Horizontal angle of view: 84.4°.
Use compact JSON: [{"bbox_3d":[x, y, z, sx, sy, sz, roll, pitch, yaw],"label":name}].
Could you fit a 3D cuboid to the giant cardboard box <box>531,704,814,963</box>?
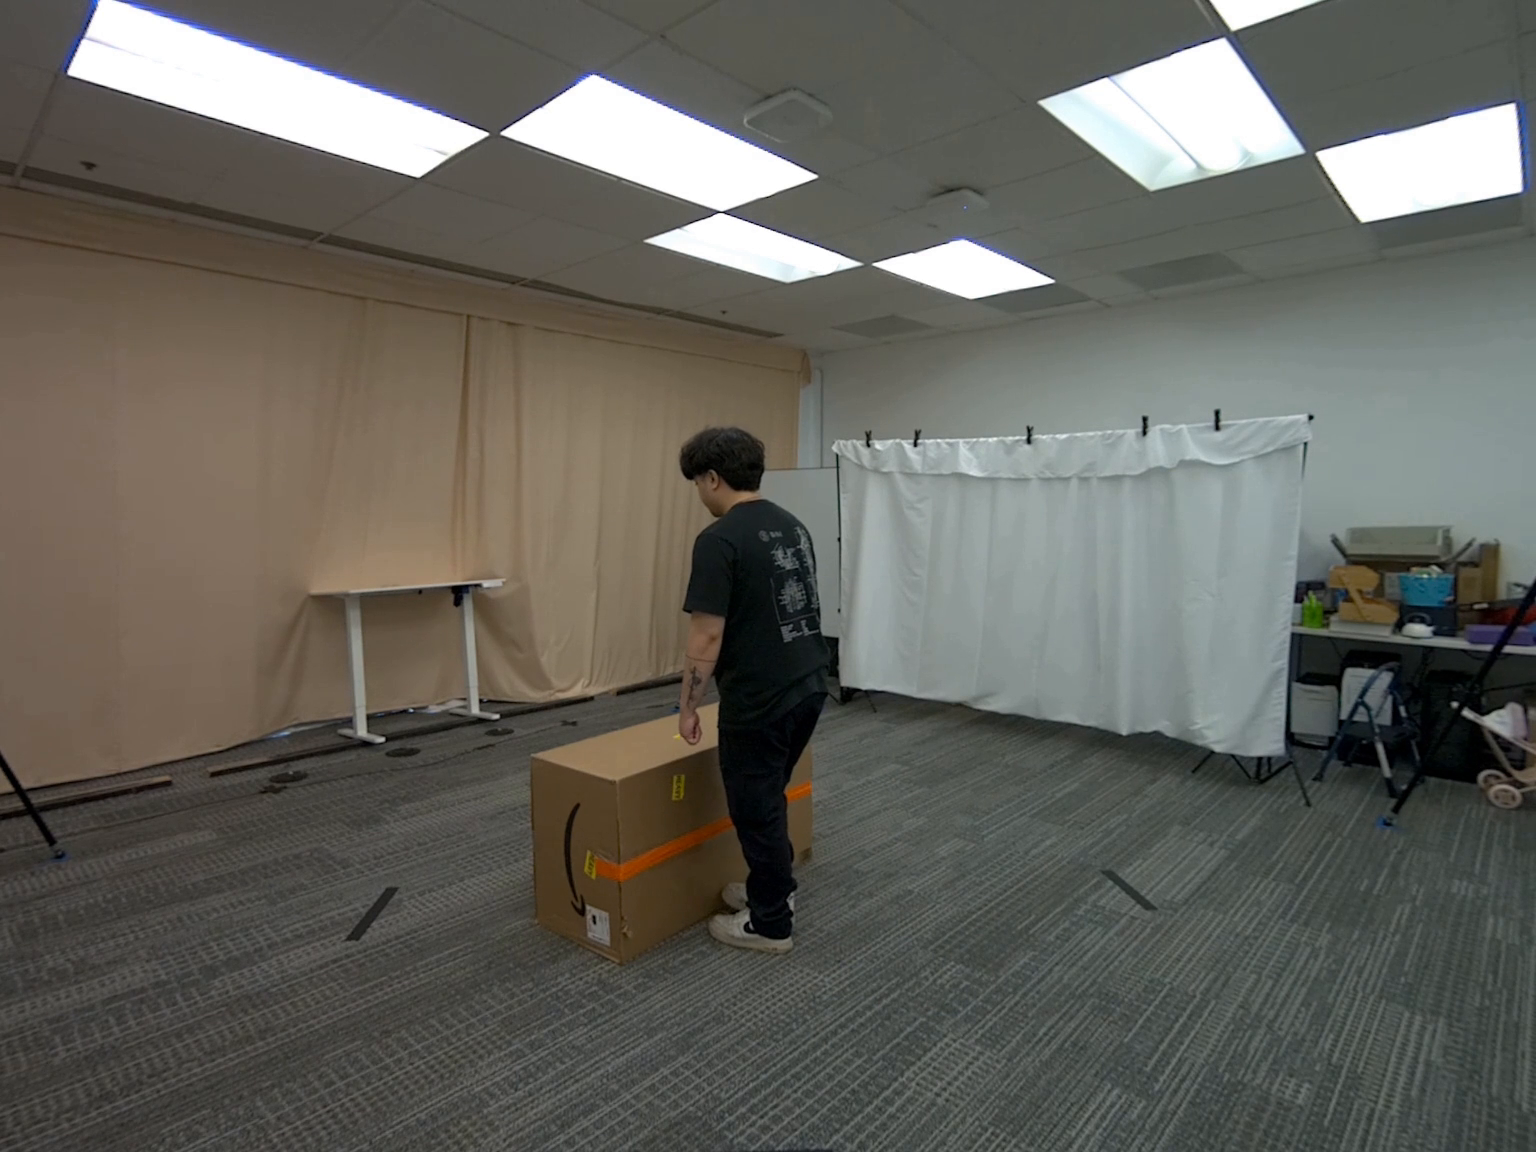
[{"bbox_3d":[-0.311,0.854,3.061,0.461,0.582,0.997,4,7,39],"label":"giant cardboard box"}]
